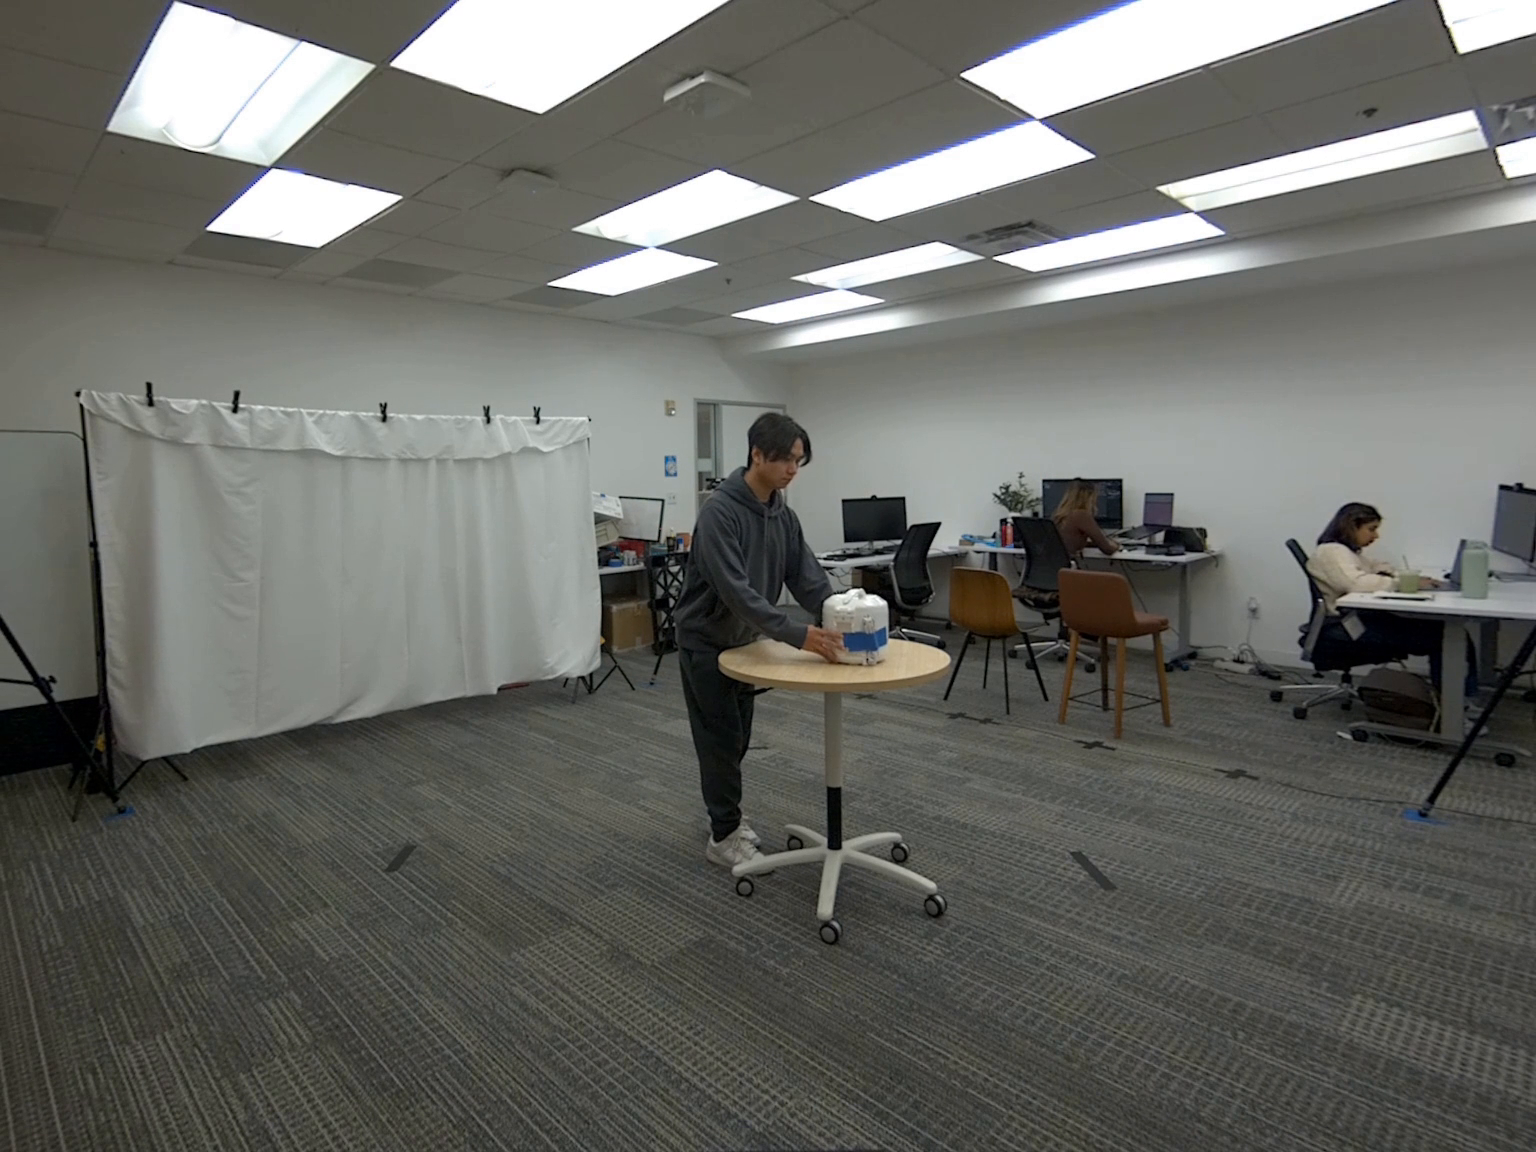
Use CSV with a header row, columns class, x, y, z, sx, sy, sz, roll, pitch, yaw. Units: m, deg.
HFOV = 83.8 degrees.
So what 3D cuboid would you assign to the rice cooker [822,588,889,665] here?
class,x,y,z,sx,sy,sz,roll,pitch,yaw
rice cooker,0.279,0.158,2.787,0.222,0.232,0.216,2,5,25
